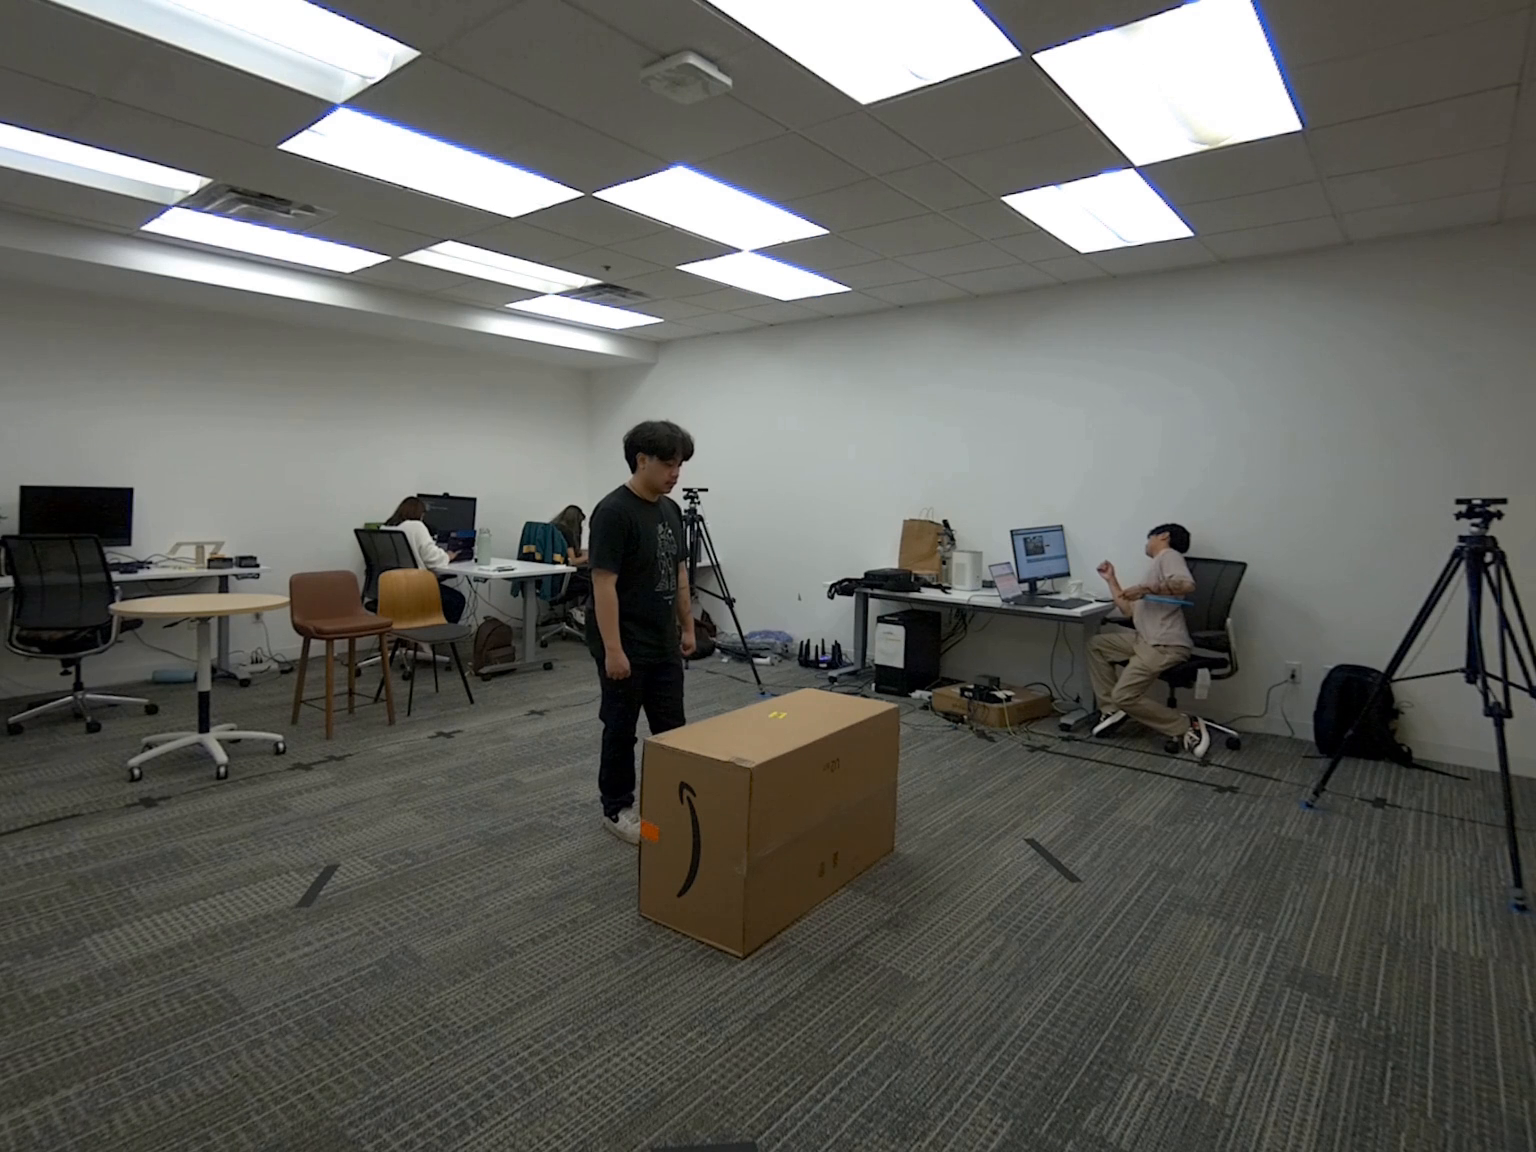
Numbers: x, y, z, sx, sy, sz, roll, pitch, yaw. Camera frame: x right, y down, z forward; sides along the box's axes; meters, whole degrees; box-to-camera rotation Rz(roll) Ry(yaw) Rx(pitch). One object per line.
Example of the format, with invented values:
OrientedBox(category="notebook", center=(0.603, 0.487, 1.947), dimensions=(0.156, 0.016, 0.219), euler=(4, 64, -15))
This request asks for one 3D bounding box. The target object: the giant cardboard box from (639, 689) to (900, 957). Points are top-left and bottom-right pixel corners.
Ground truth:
OrientedBox(category="giant cardboard box", center=(0.040, 0.798, 3.023), dimensions=(0.461, 0.582, 0.998), euler=(3, 4, 35))
